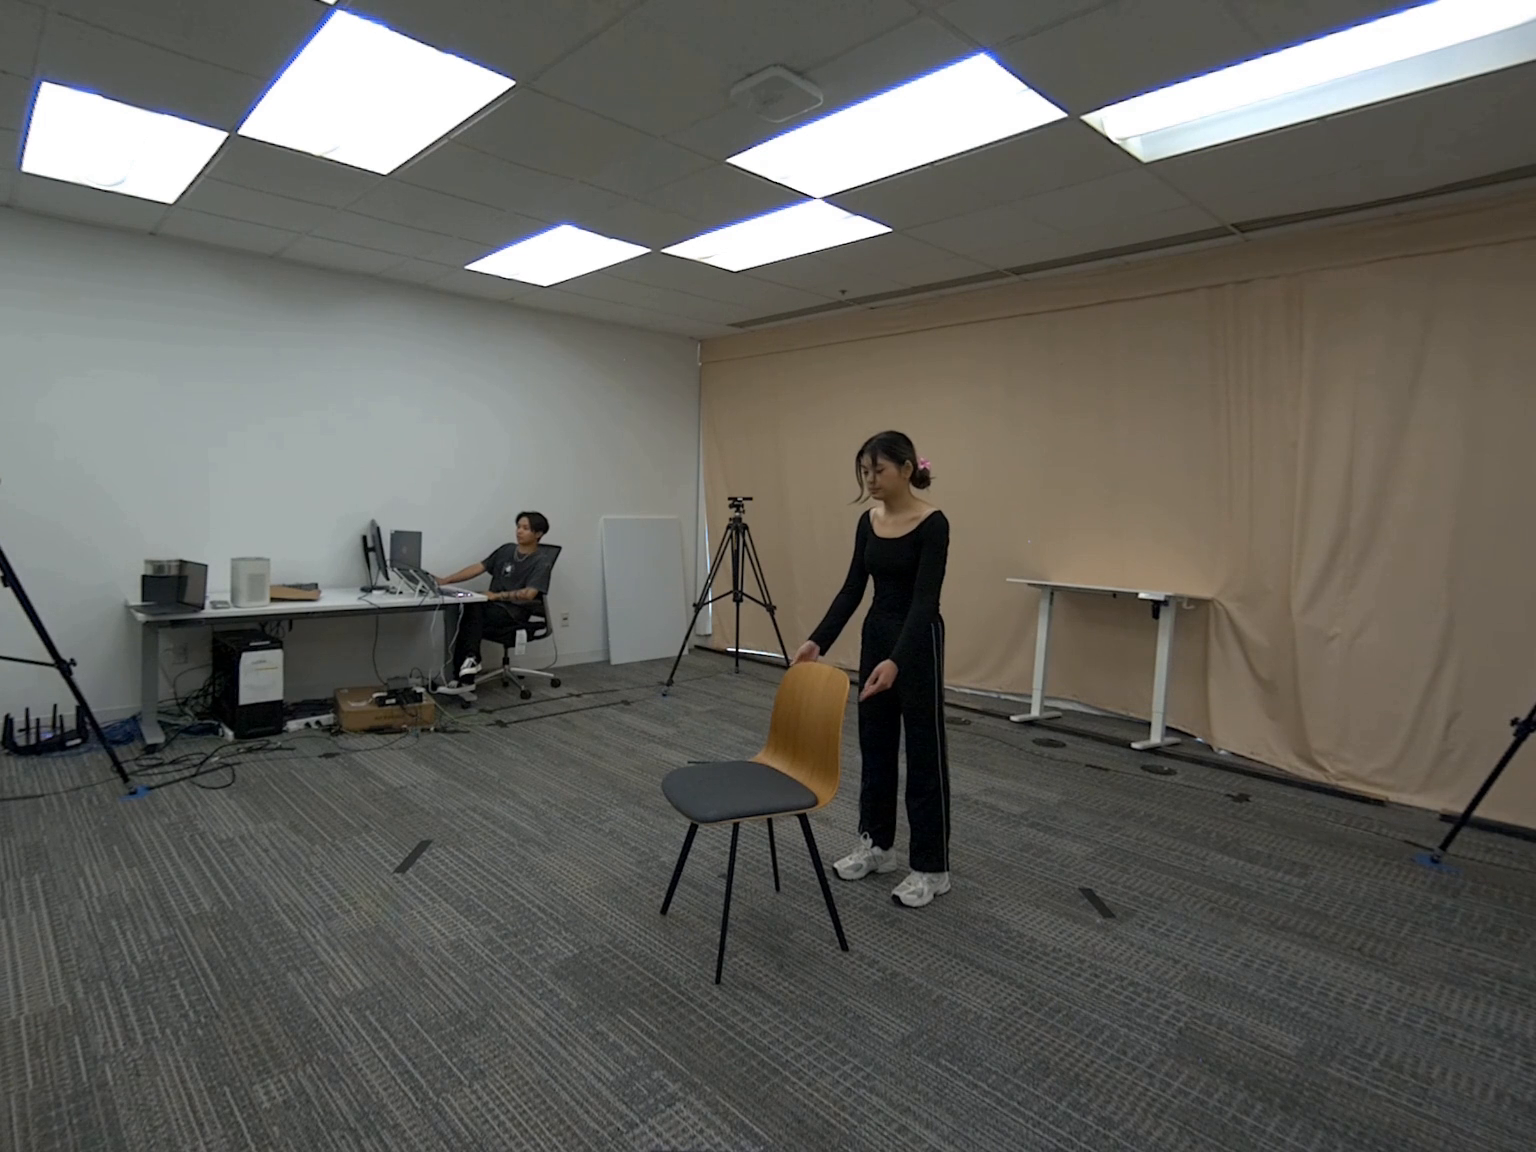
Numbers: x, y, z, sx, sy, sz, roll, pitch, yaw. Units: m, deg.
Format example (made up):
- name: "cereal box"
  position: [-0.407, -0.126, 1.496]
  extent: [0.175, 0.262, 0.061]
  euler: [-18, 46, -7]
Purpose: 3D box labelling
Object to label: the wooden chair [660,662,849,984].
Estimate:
- name: "wooden chair"
  position: [-0.053, 0.723, 2.672]
  extent: [0.512, 0.876, 0.488]
  euler: [4, 2, -27]
